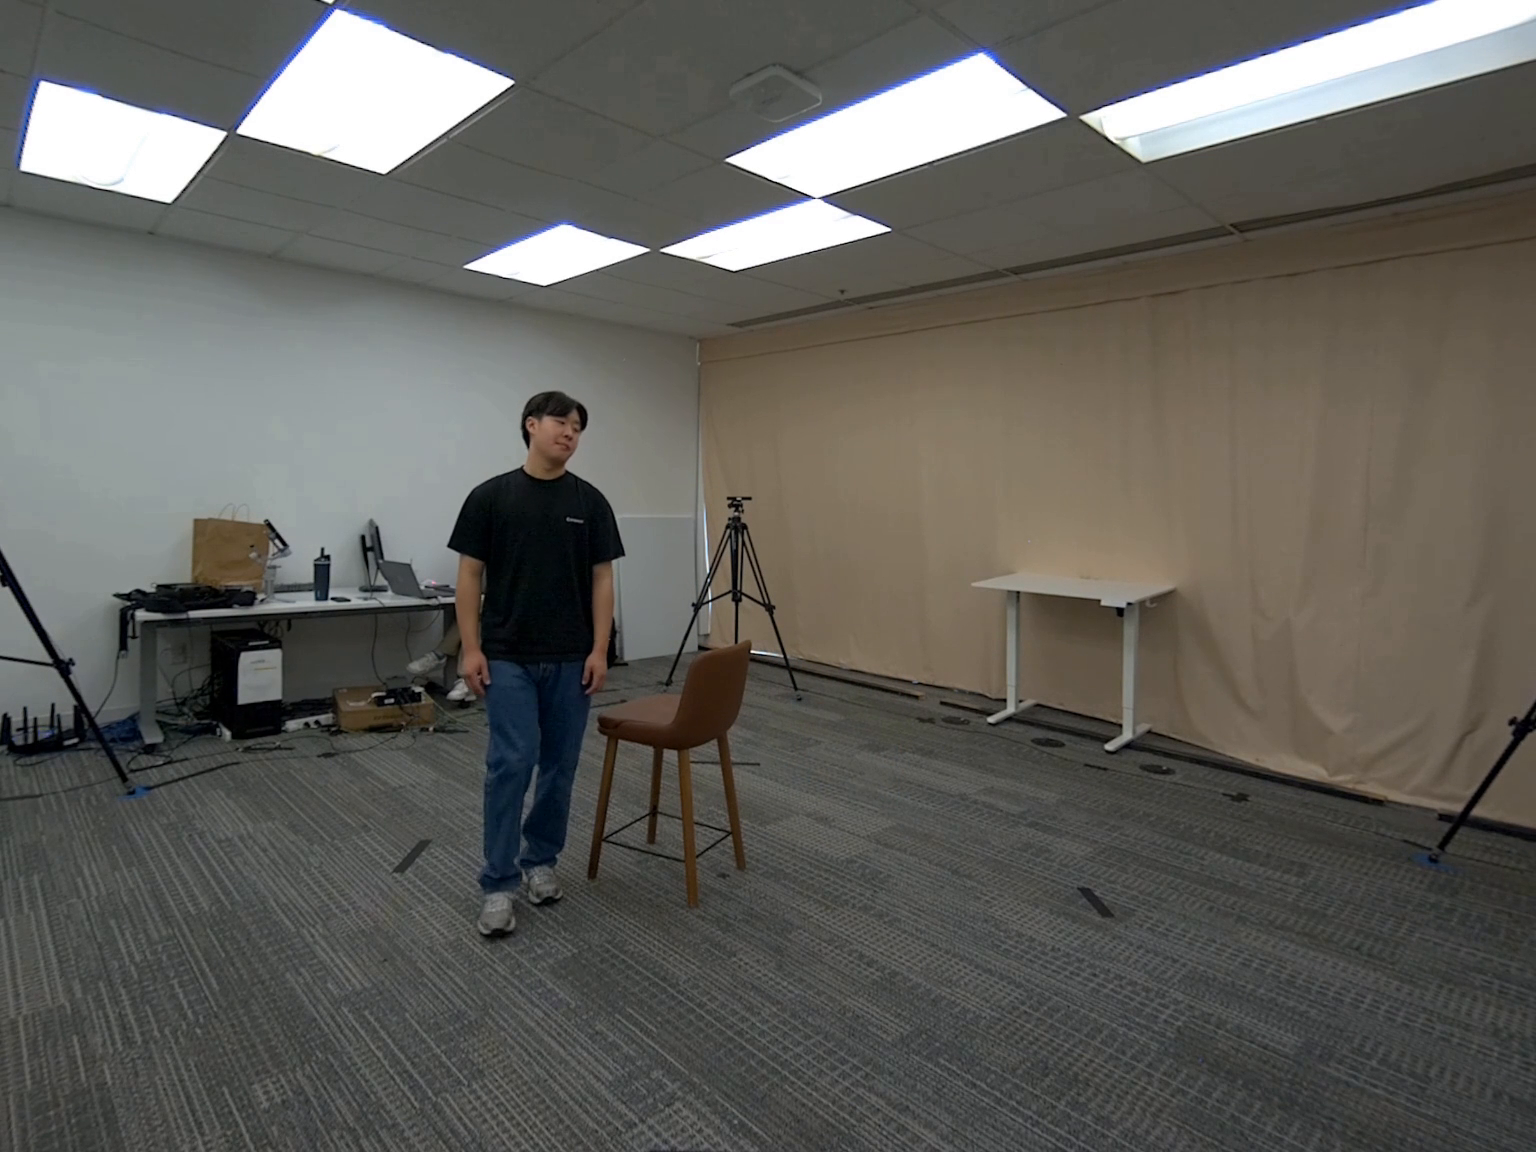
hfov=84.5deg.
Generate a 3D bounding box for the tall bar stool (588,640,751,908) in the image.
[{"bbox_3d":[-0.353,0.670,3.092,0.478,0.887,0.448,5,5,29],"label":"tall bar stool"}]
